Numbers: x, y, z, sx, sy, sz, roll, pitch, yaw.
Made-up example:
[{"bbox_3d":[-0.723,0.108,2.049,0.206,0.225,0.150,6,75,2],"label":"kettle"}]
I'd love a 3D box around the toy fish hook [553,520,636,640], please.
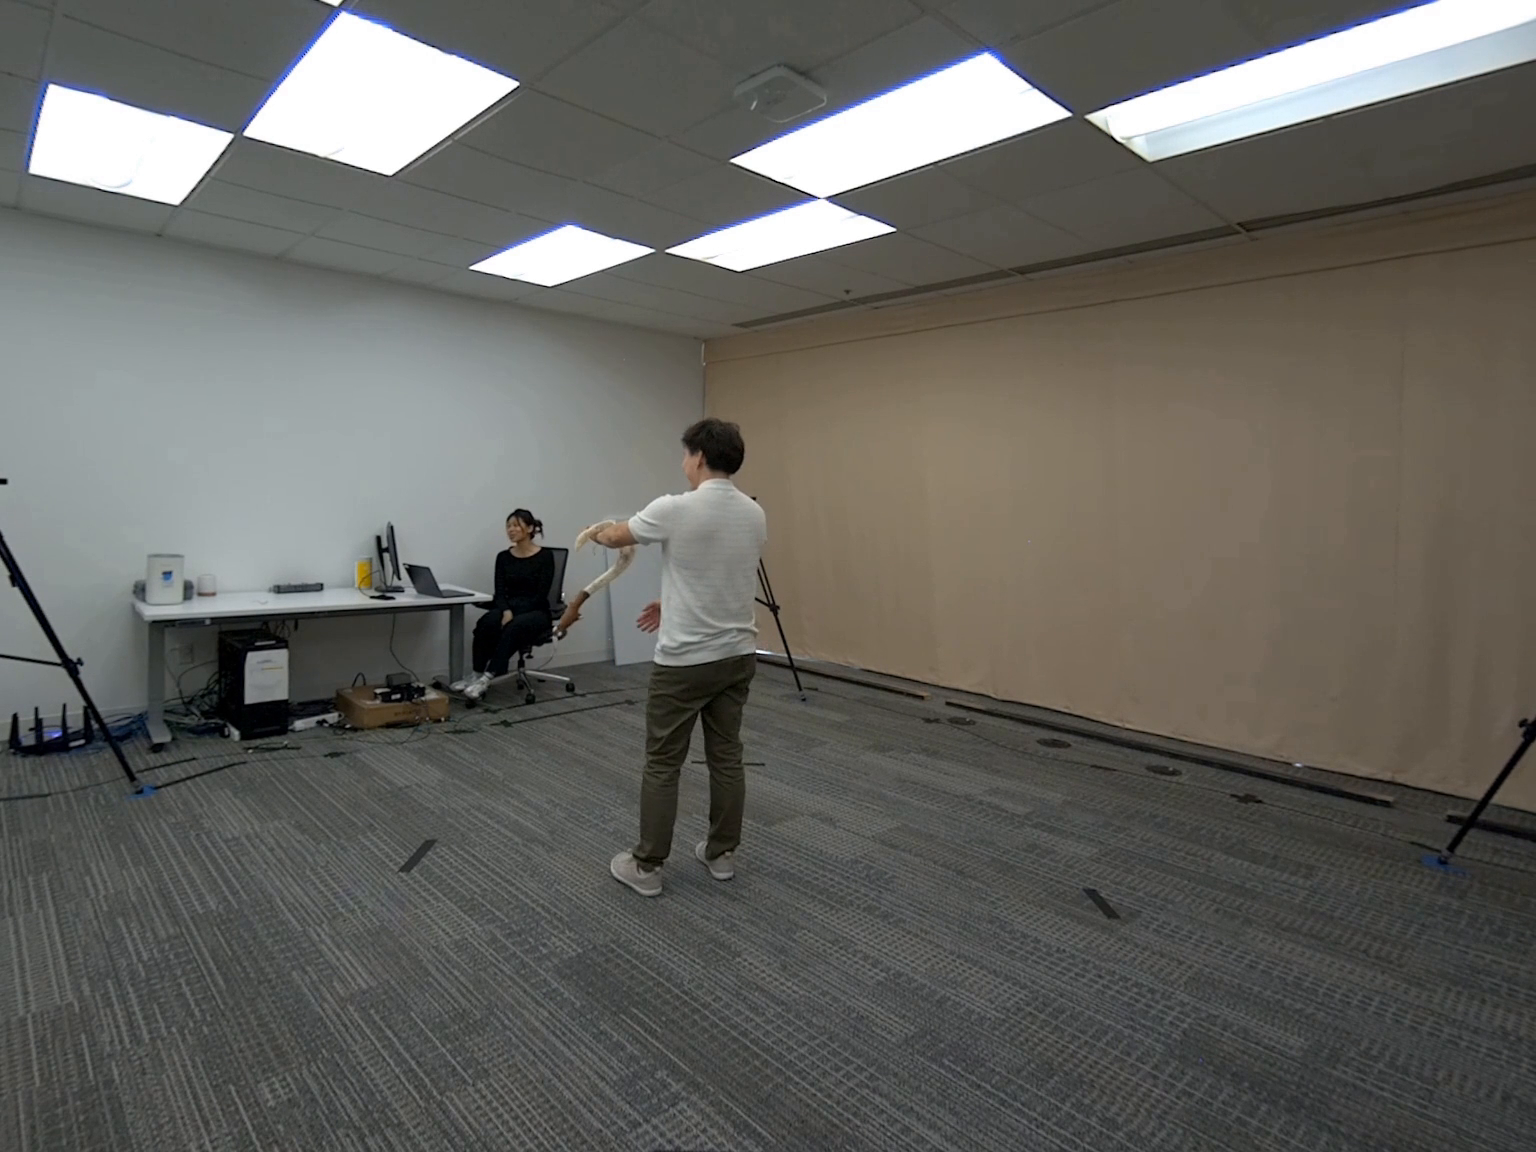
[{"bbox_3d":[-0.707,0.004,3.247,0.226,0.508,0.048,32,-20,7],"label":"toy fish hook"}]
